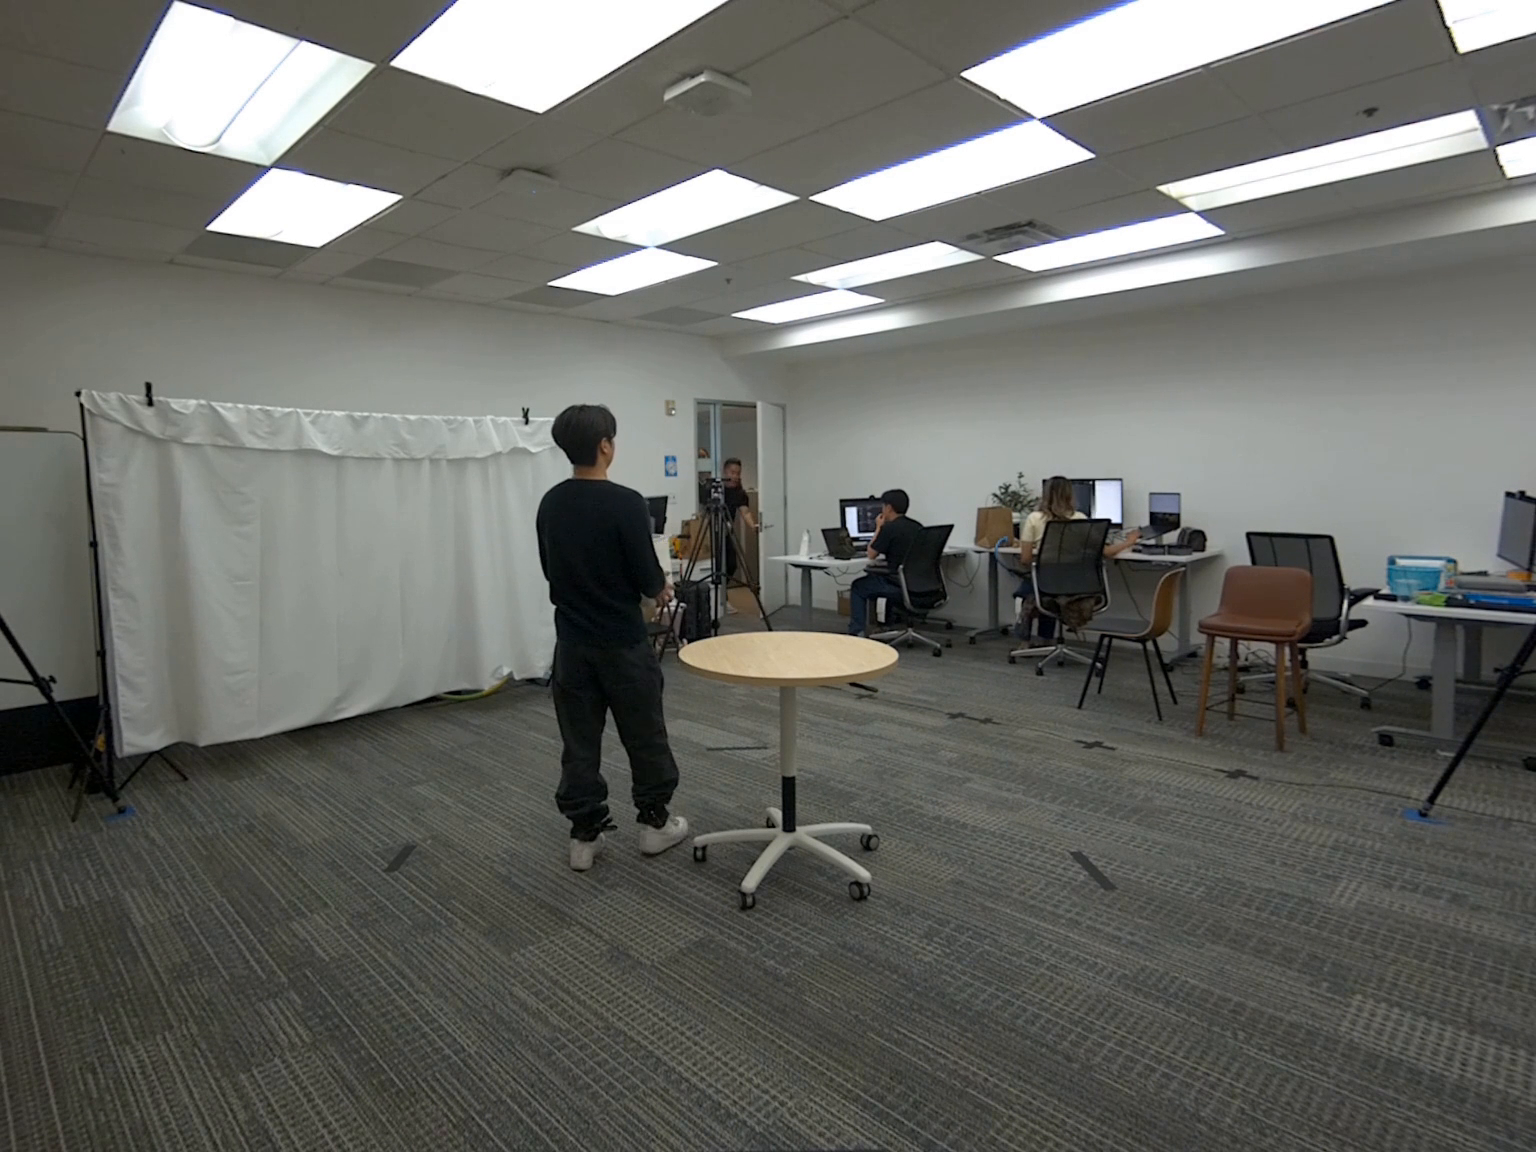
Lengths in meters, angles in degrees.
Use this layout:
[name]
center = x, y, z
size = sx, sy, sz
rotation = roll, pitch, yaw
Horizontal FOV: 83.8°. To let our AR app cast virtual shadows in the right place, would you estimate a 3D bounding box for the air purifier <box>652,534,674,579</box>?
[air purifier]
center = -0.479, -0.020, 3.399
size = 0.176, 0.262, 0.168
rotation = 4, 13, 35
